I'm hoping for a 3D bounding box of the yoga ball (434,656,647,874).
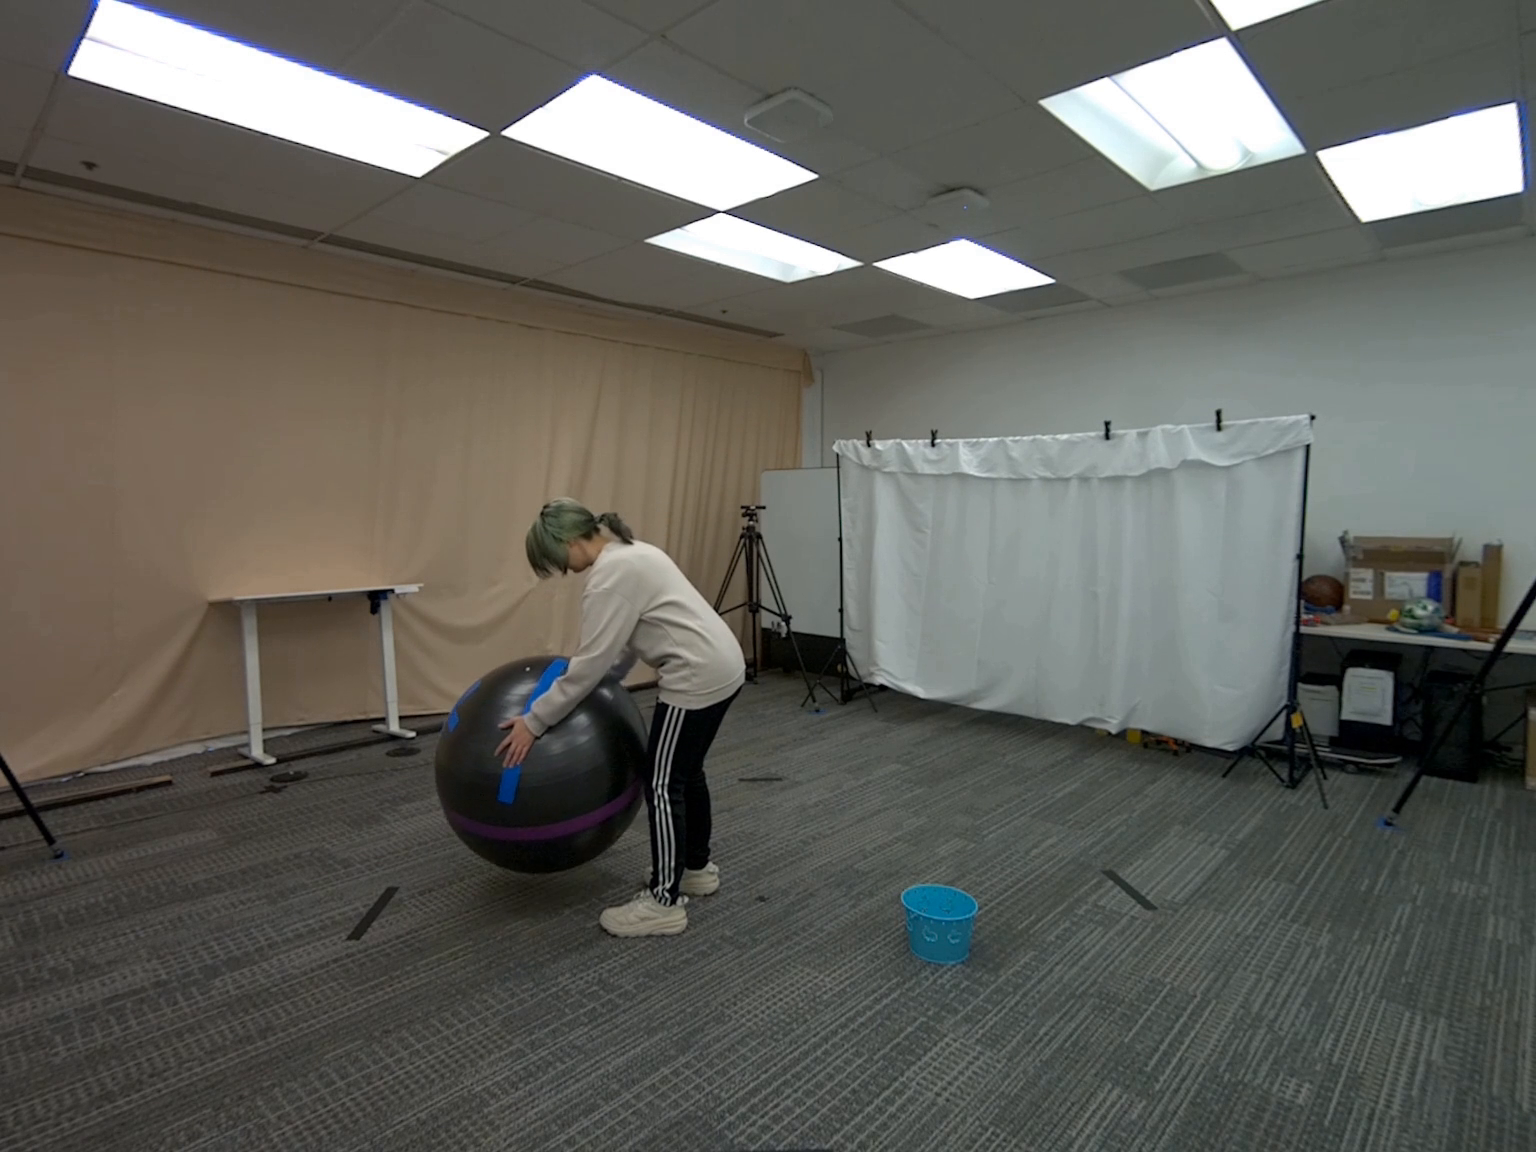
[{"bbox_3d":[-0.800,0.661,3.025,0.757,0.756,0.760,0,4,-2],"label":"yoga ball"}]
